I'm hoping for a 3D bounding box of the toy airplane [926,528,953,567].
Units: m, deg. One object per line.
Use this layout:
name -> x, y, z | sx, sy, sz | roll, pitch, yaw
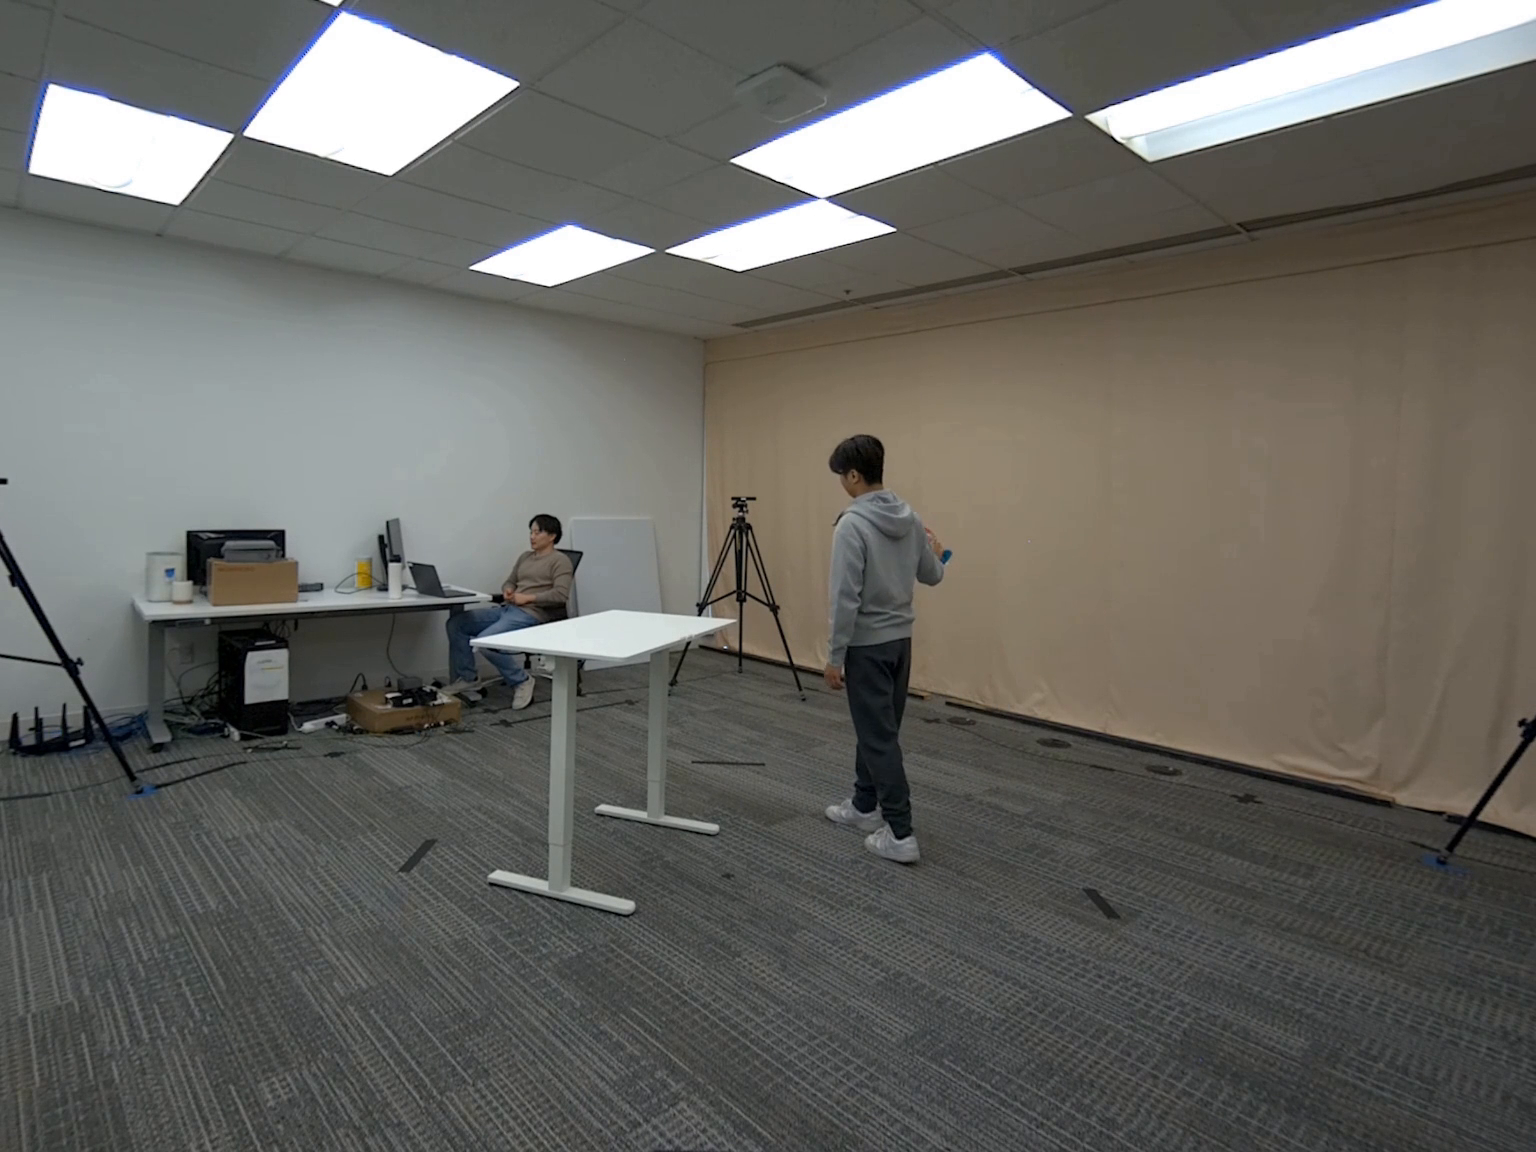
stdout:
toy airplane -> 0.709, -0.137, 3.913 | 0.259, 0.155, 0.253 | 20, 19, -2
